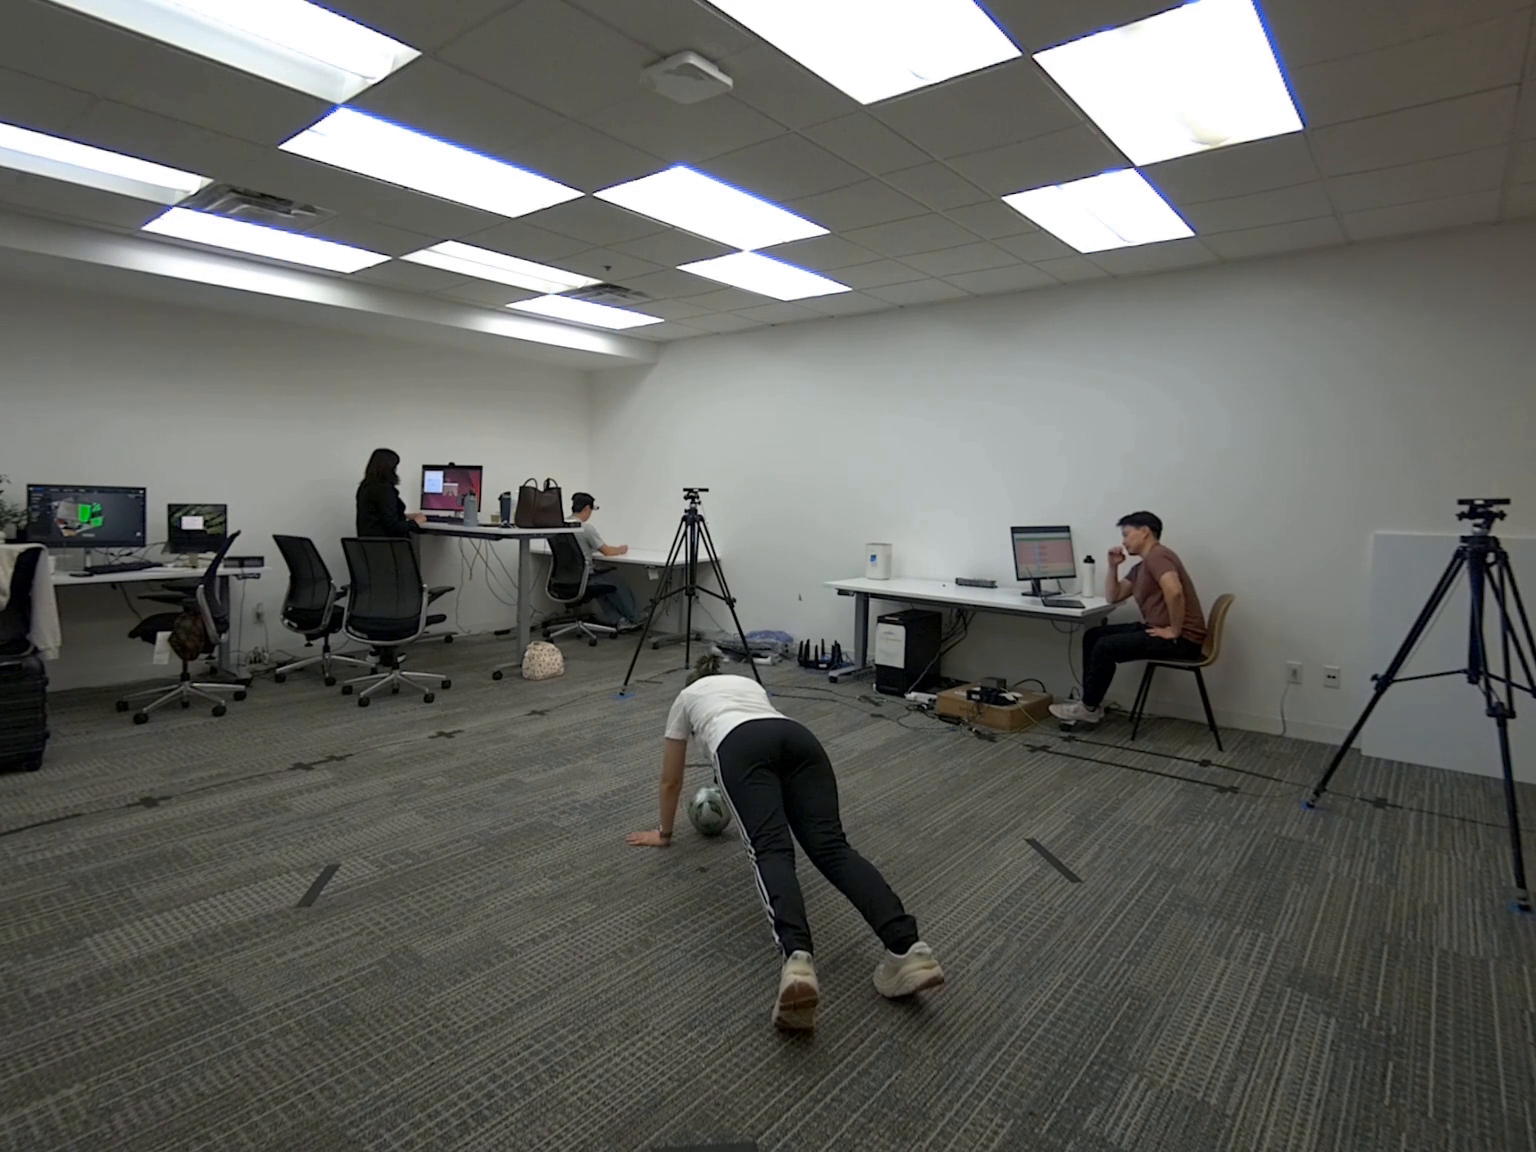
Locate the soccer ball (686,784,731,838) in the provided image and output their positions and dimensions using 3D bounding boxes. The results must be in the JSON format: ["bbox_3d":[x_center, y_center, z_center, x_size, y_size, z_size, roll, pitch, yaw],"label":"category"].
[{"bbox_3d":[-0.242,0.941,3.442,0.187,0.187,0.188,1,4,-2],"label":"soccer ball"}]
